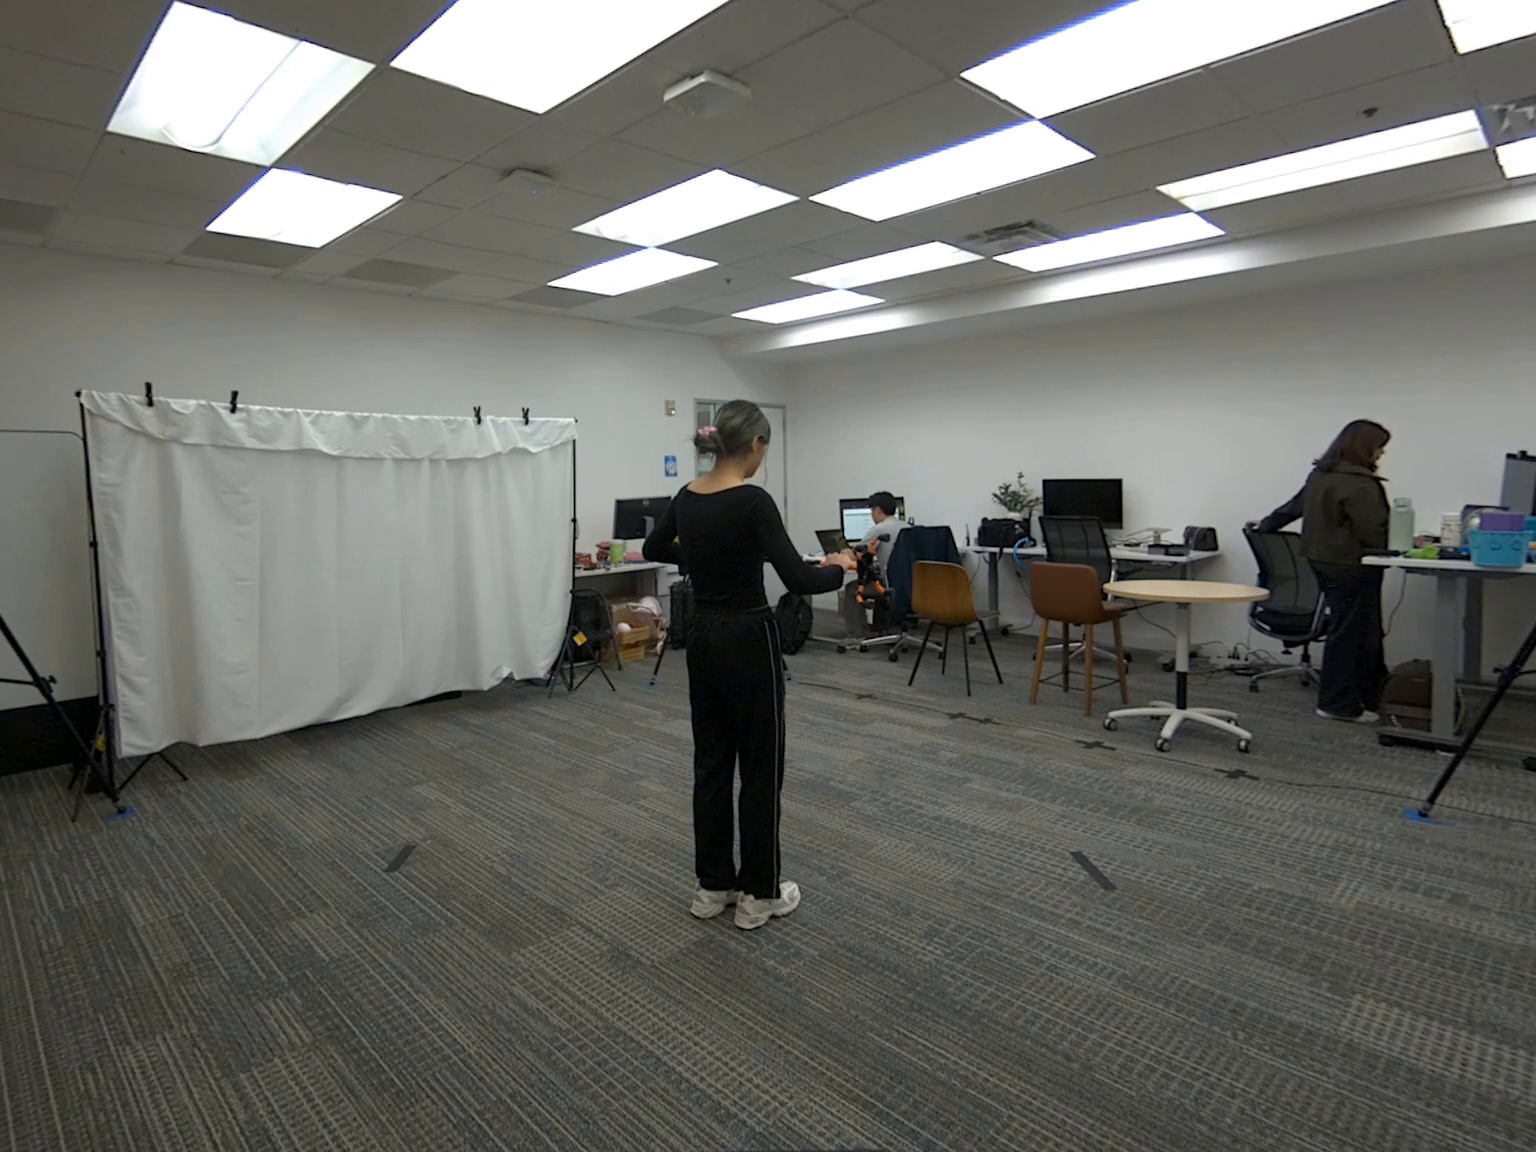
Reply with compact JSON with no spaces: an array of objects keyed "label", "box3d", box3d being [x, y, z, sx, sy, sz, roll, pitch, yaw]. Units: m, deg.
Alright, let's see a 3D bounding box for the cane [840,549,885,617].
[{"label":"cane","box3d":[-0.004,-0.057,2.918,0.936,0.204,0.148,6,15,43]}]
